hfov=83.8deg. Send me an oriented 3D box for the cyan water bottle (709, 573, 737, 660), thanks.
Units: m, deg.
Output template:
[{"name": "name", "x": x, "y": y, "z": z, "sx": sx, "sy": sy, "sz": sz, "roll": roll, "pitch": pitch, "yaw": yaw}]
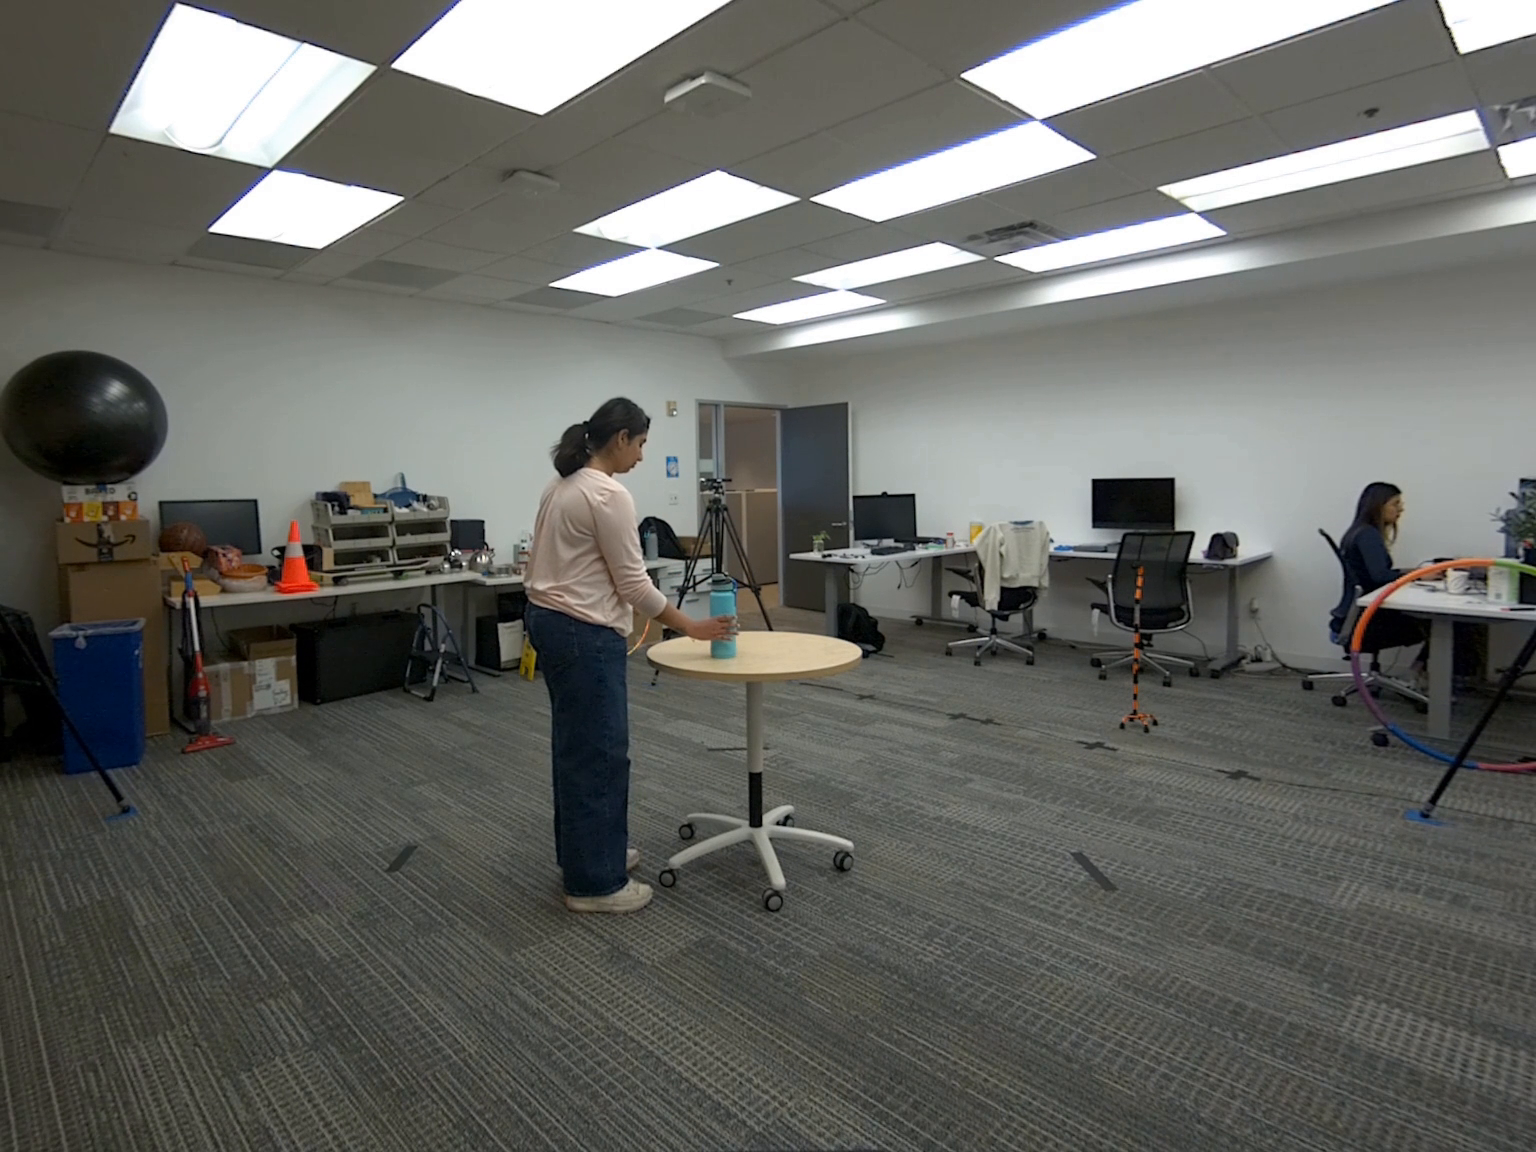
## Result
[{"name": "cyan water bottle", "x": -0.153, "y": 0.136, "z": 2.952, "sx": 0.092, "sy": 0.282, "sz": 0.093, "roll": 0, "pitch": 4, "yaw": -2}]
